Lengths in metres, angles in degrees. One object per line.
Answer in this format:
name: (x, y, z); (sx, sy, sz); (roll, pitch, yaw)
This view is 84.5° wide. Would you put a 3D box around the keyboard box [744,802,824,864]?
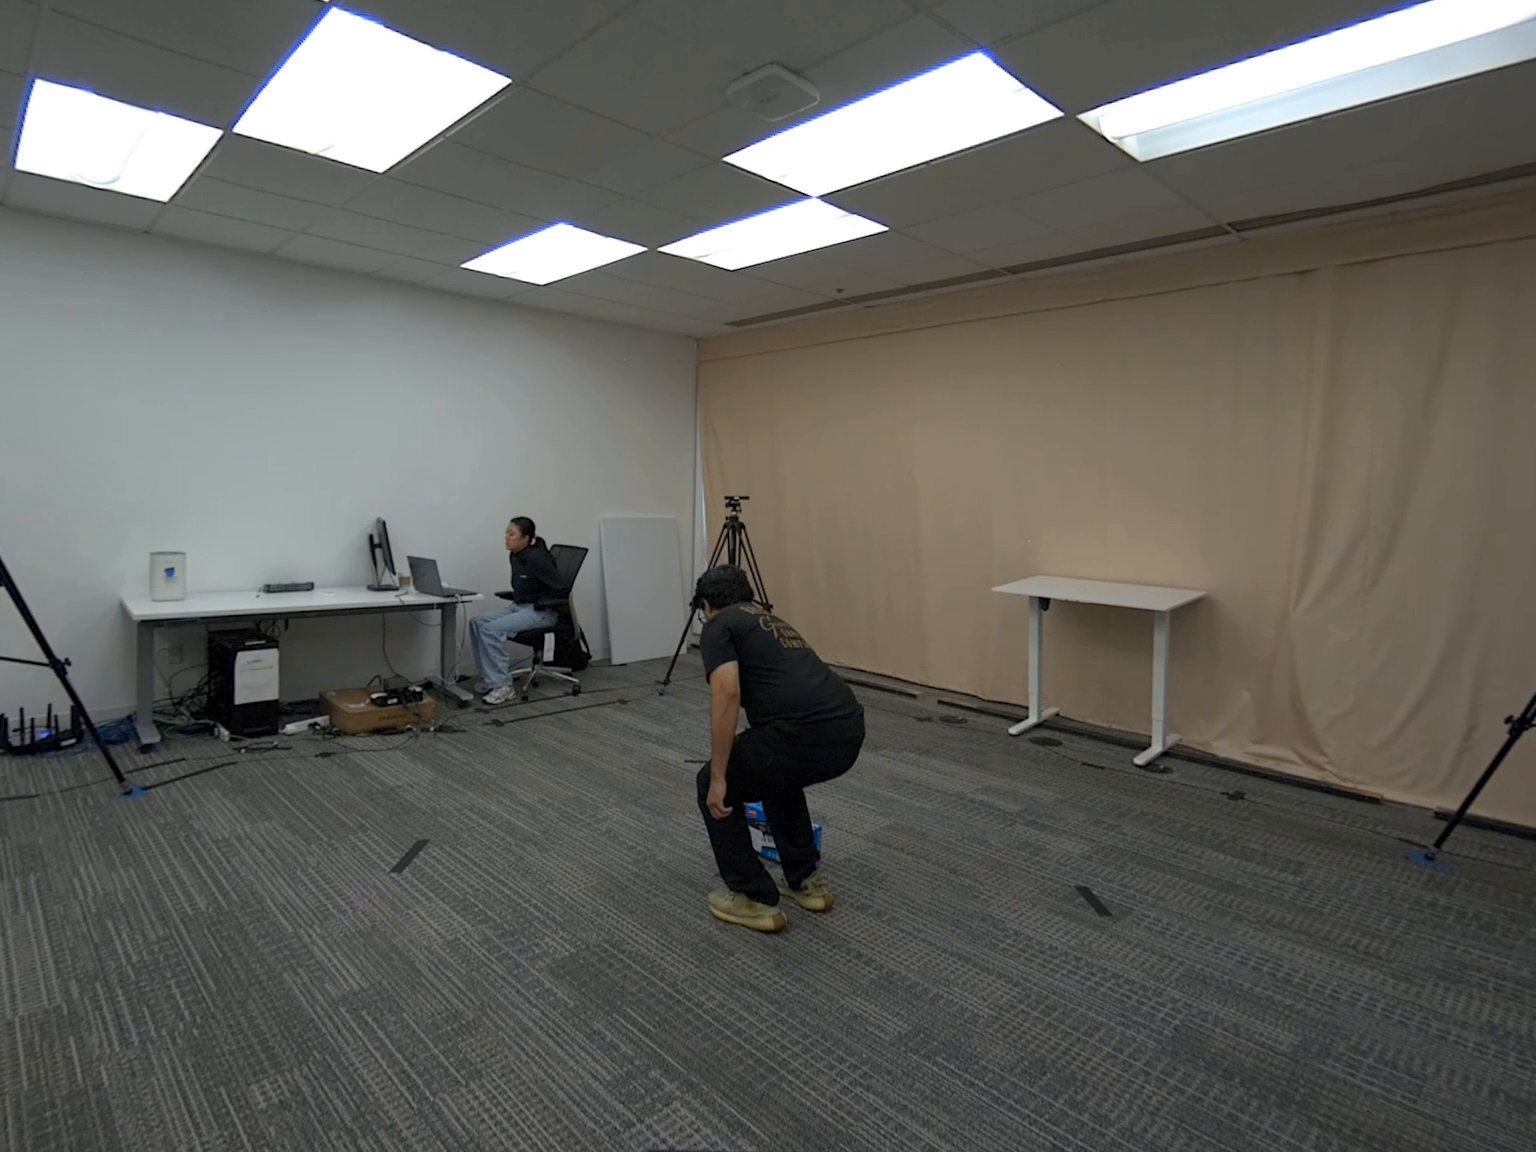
keyboard box: (0.013, 0.992, 3.241); (0.448, 0.175, 0.058); (7, 7, 42)
